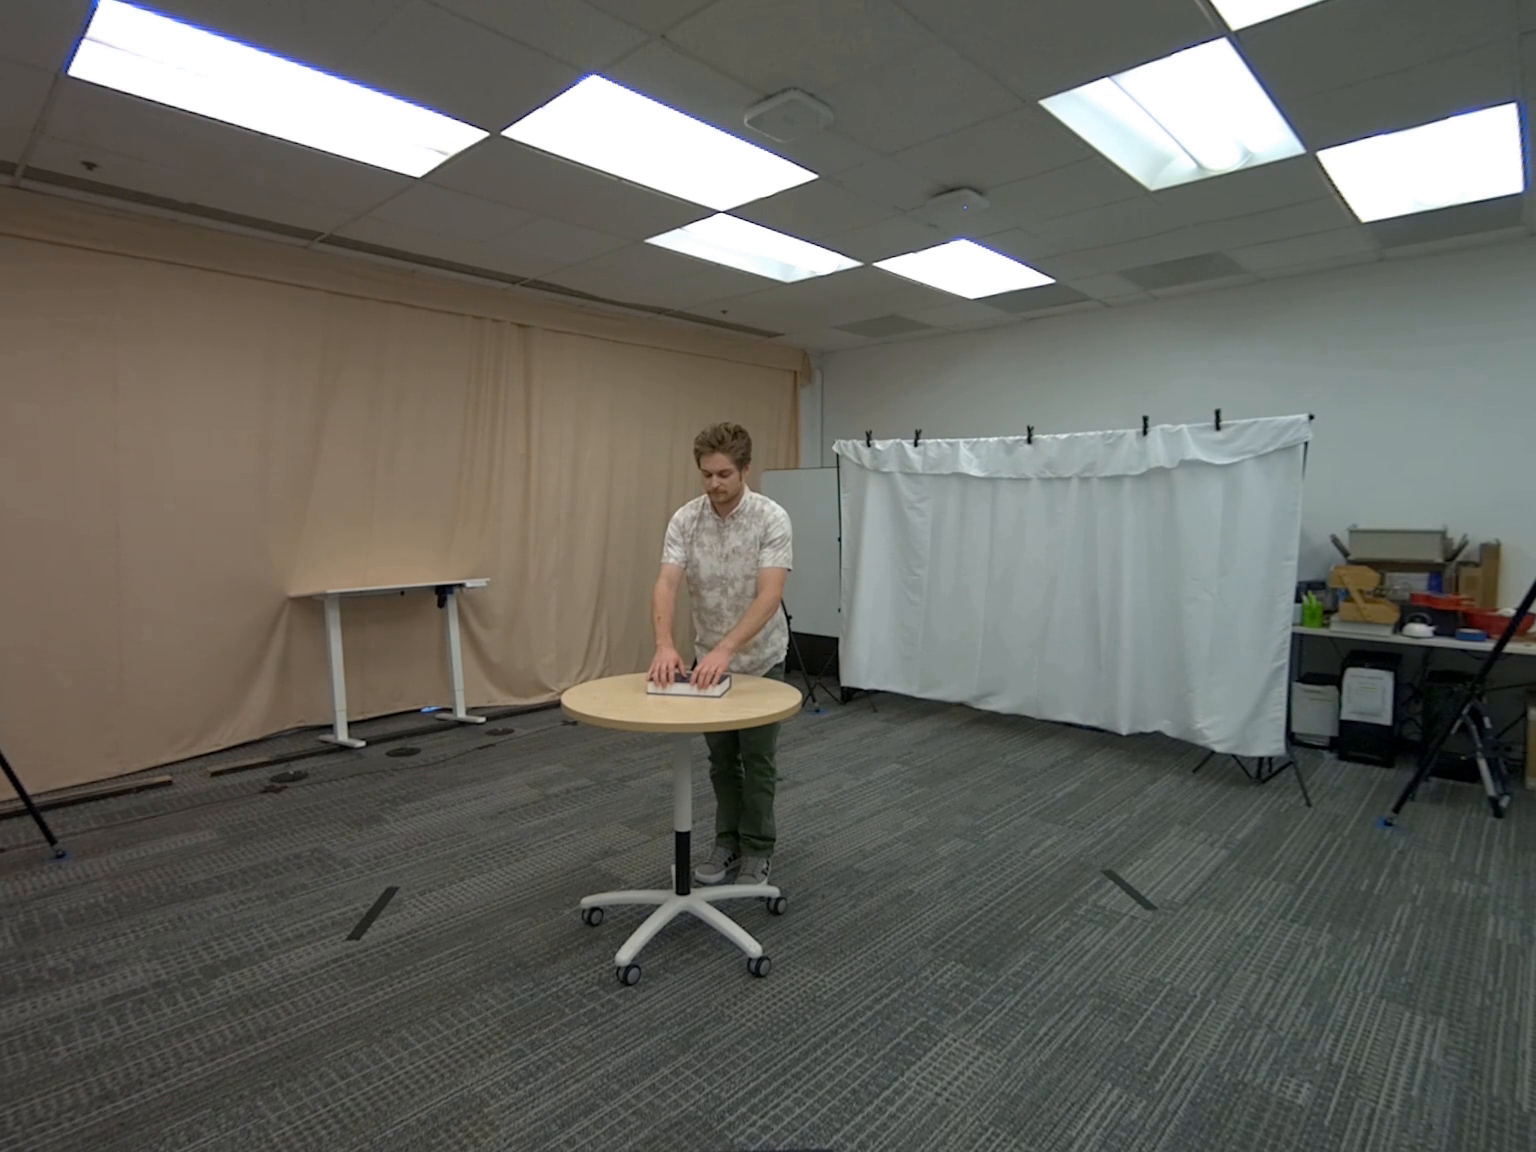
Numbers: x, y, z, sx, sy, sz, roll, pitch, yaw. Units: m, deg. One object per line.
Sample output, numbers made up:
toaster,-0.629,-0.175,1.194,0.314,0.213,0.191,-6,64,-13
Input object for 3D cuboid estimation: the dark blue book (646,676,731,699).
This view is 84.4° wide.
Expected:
dark blue book,-0.258,0.352,2.747,0.248,0.045,0.162,1,5,11
